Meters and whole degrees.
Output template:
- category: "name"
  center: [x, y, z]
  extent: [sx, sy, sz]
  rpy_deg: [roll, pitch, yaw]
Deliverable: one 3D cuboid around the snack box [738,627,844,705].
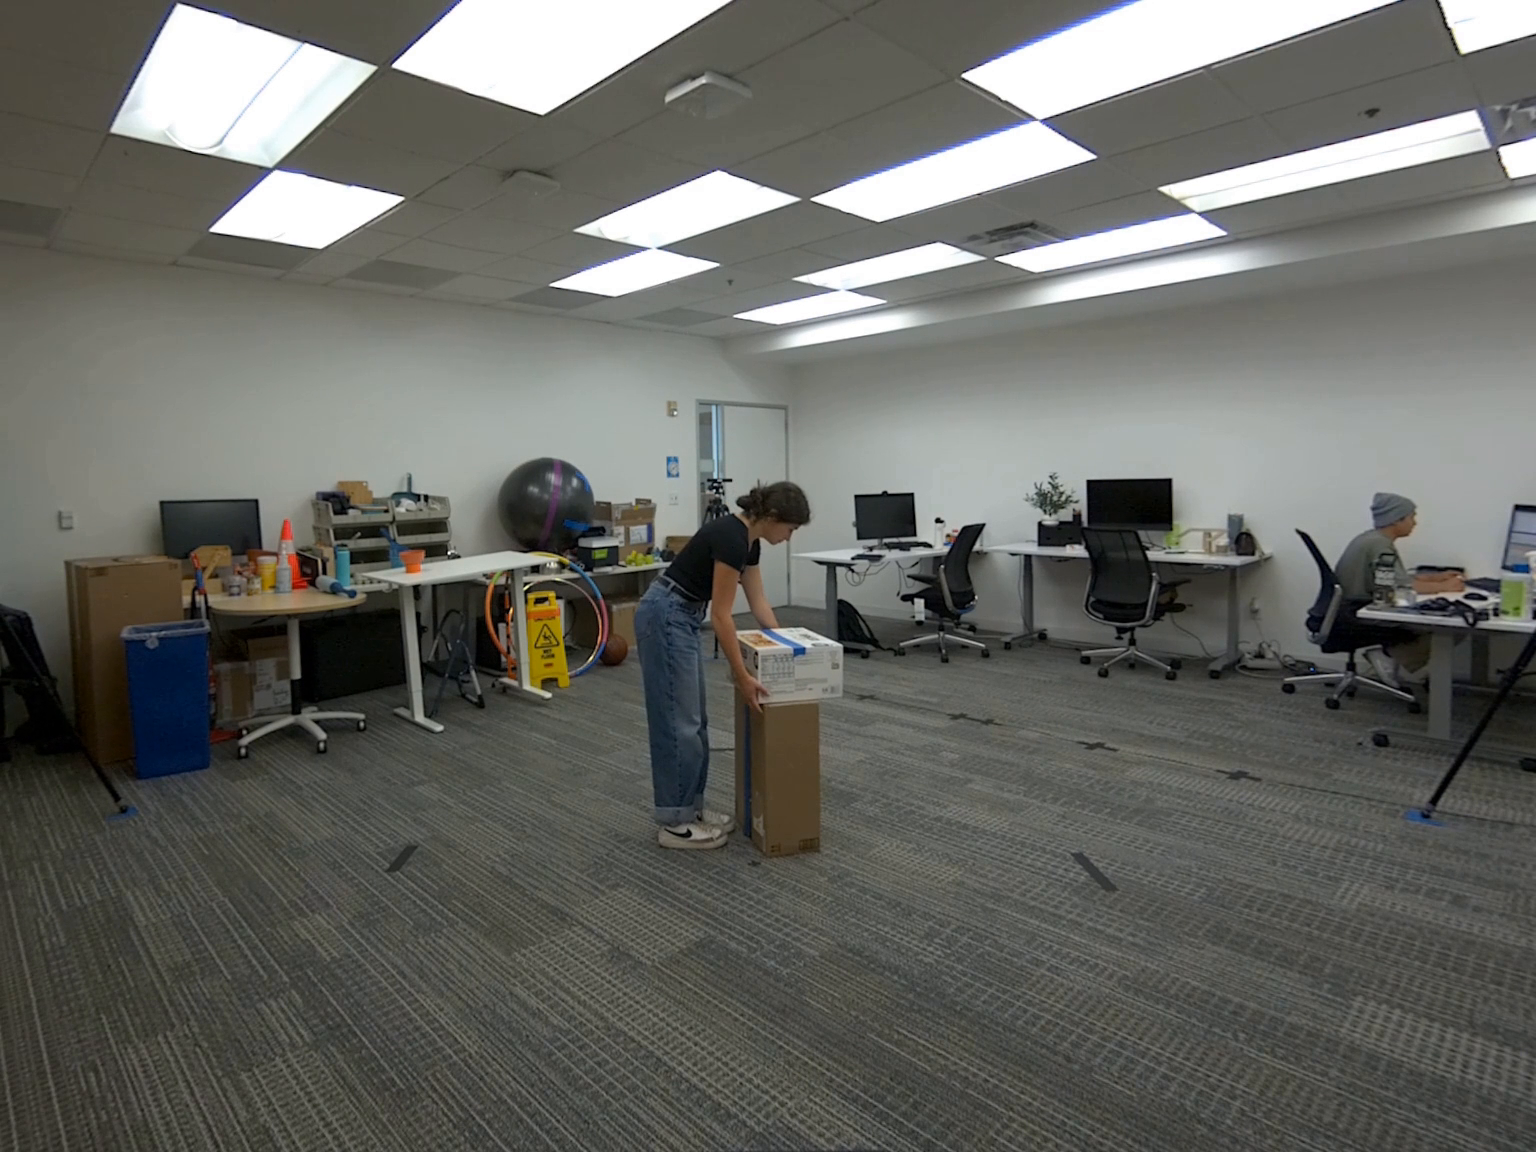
- category: "snack box"
  center: [0.054, 0.344, 3.368]
  extent: [0.335, 0.205, 0.413]
  rpy_deg: [-2, 6, -18]
